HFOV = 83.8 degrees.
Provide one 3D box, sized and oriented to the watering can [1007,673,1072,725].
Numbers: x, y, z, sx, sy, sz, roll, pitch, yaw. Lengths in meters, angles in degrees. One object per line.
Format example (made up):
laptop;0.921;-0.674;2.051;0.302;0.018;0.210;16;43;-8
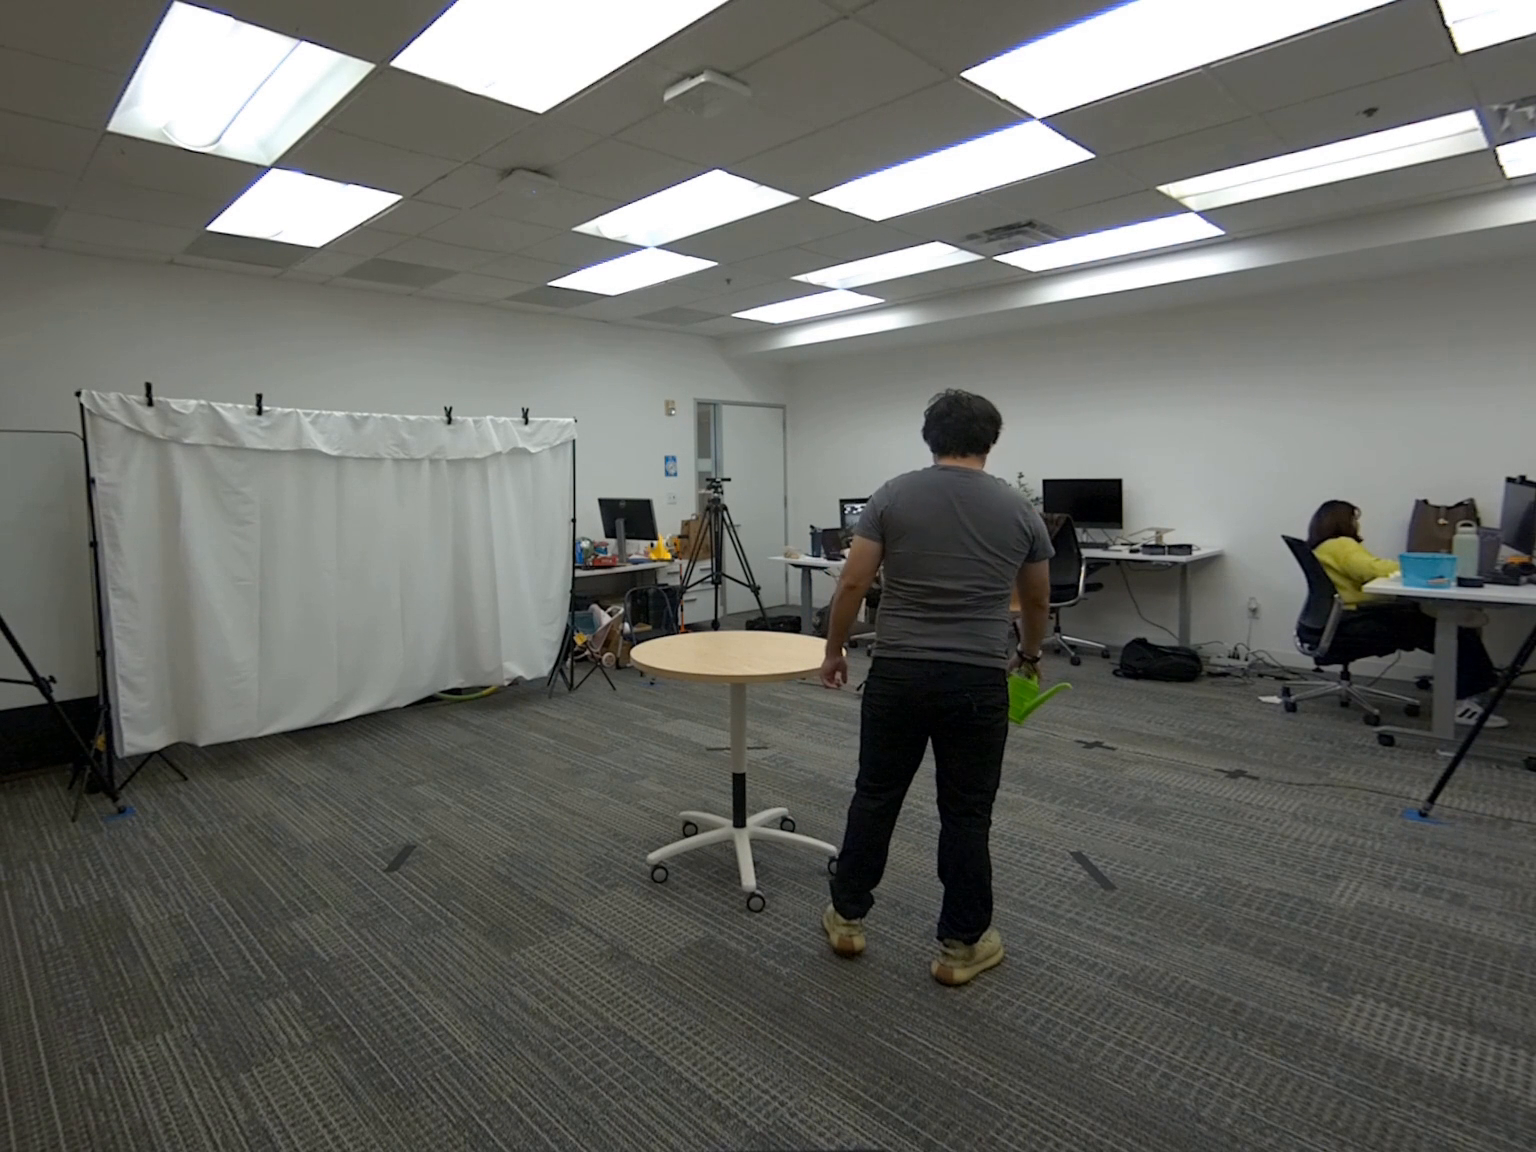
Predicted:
watering can;0.806;0.373;2.649;0.097;0.177;0.281;22;-1;-11
